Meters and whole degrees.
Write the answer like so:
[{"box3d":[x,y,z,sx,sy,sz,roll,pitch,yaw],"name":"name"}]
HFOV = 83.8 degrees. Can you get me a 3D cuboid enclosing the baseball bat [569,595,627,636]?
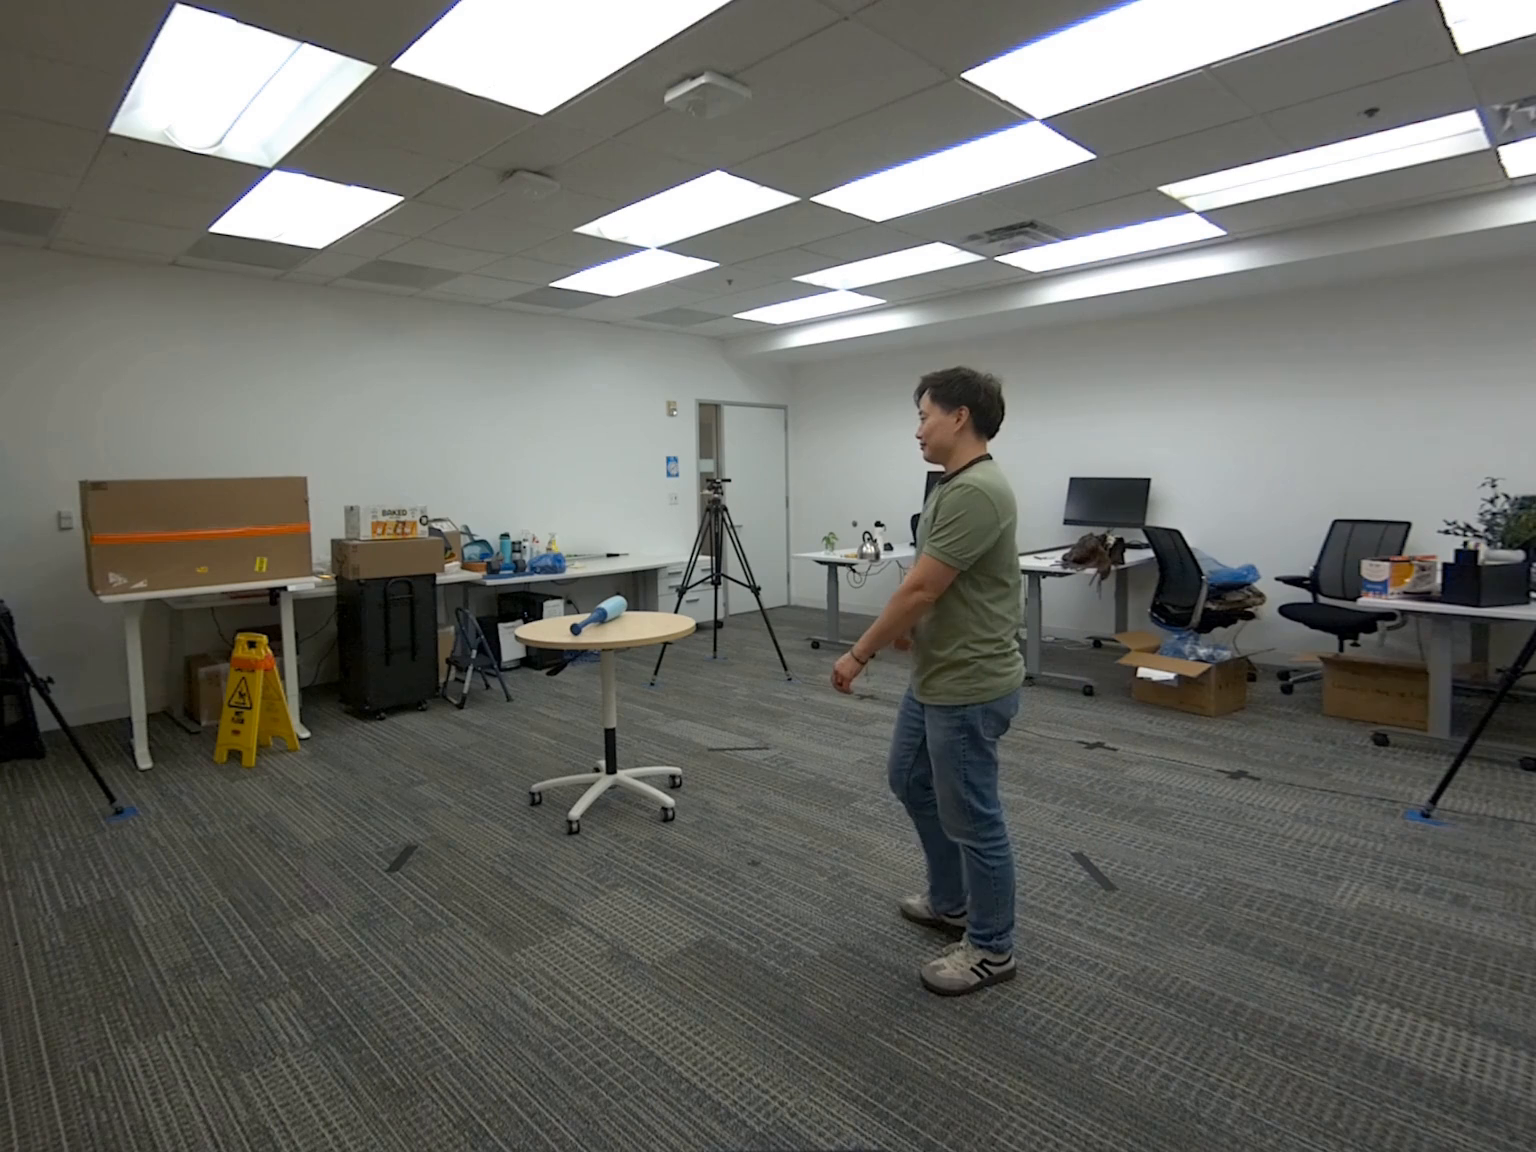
[{"box3d":[-0.734,0.175,3.688,0.090,0.088,0.541,0,9,9],"name":"baseball bat"}]
